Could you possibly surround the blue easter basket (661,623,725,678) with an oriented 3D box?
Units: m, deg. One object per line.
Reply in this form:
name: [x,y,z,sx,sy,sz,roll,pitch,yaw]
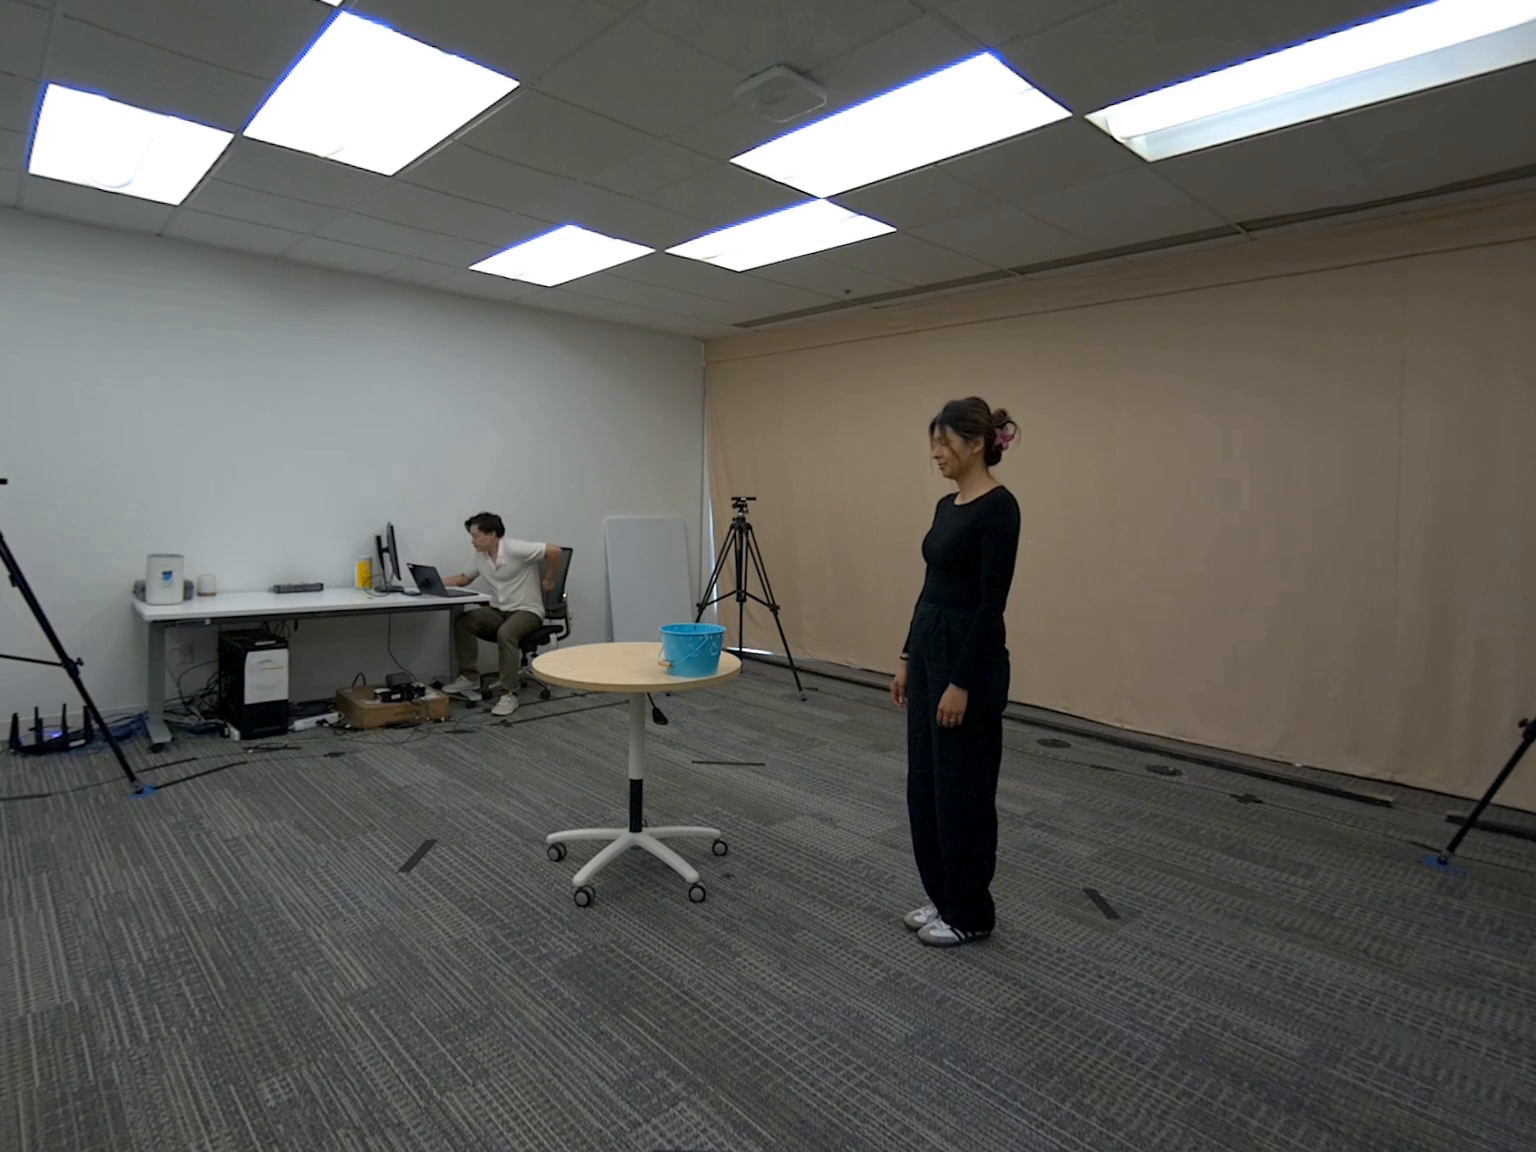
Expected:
blue easter basket: [-0.269,0.265,2.947,0.243,0.155,0.244,3,4,-2]
